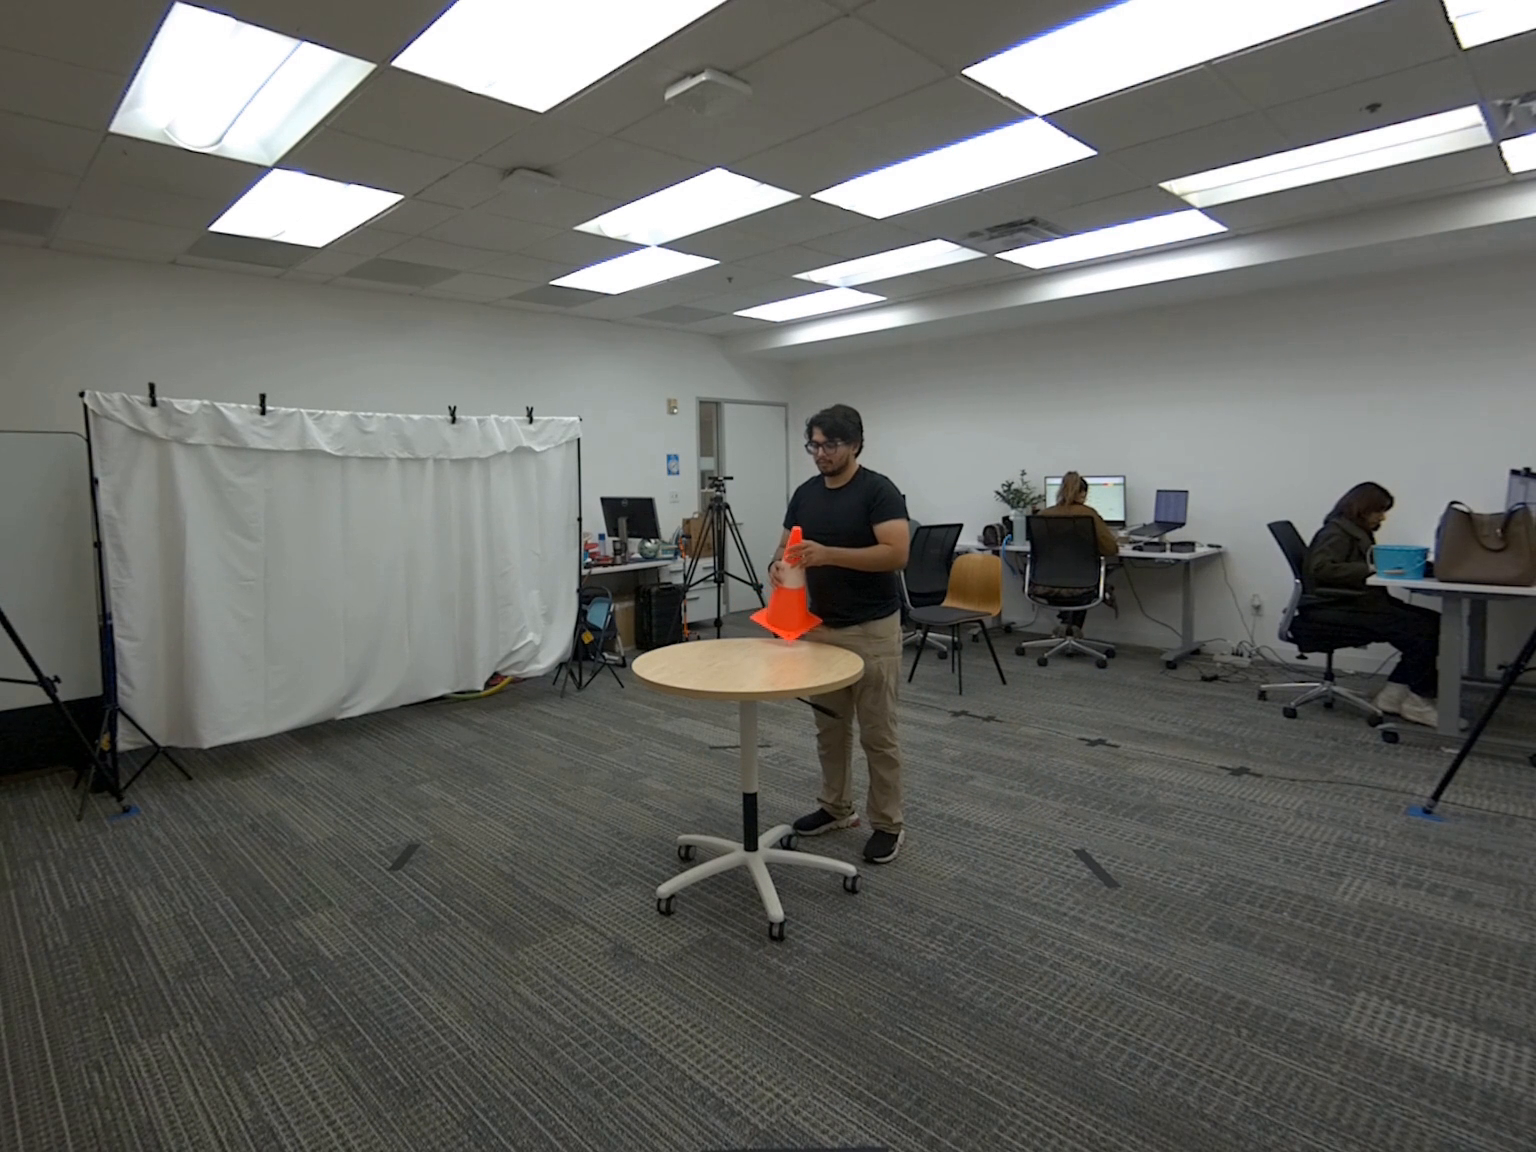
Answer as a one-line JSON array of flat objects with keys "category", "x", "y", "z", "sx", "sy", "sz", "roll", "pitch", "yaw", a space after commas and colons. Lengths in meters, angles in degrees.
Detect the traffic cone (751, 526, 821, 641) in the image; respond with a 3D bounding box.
[{"category": "traffic cone", "x": 0.074, "y": -0.004, "z": 3.042, "sx": 0.210, "sy": 0.375, "sz": 0.203, "roll": 19, "pitch": 33, "yaw": 31}]
